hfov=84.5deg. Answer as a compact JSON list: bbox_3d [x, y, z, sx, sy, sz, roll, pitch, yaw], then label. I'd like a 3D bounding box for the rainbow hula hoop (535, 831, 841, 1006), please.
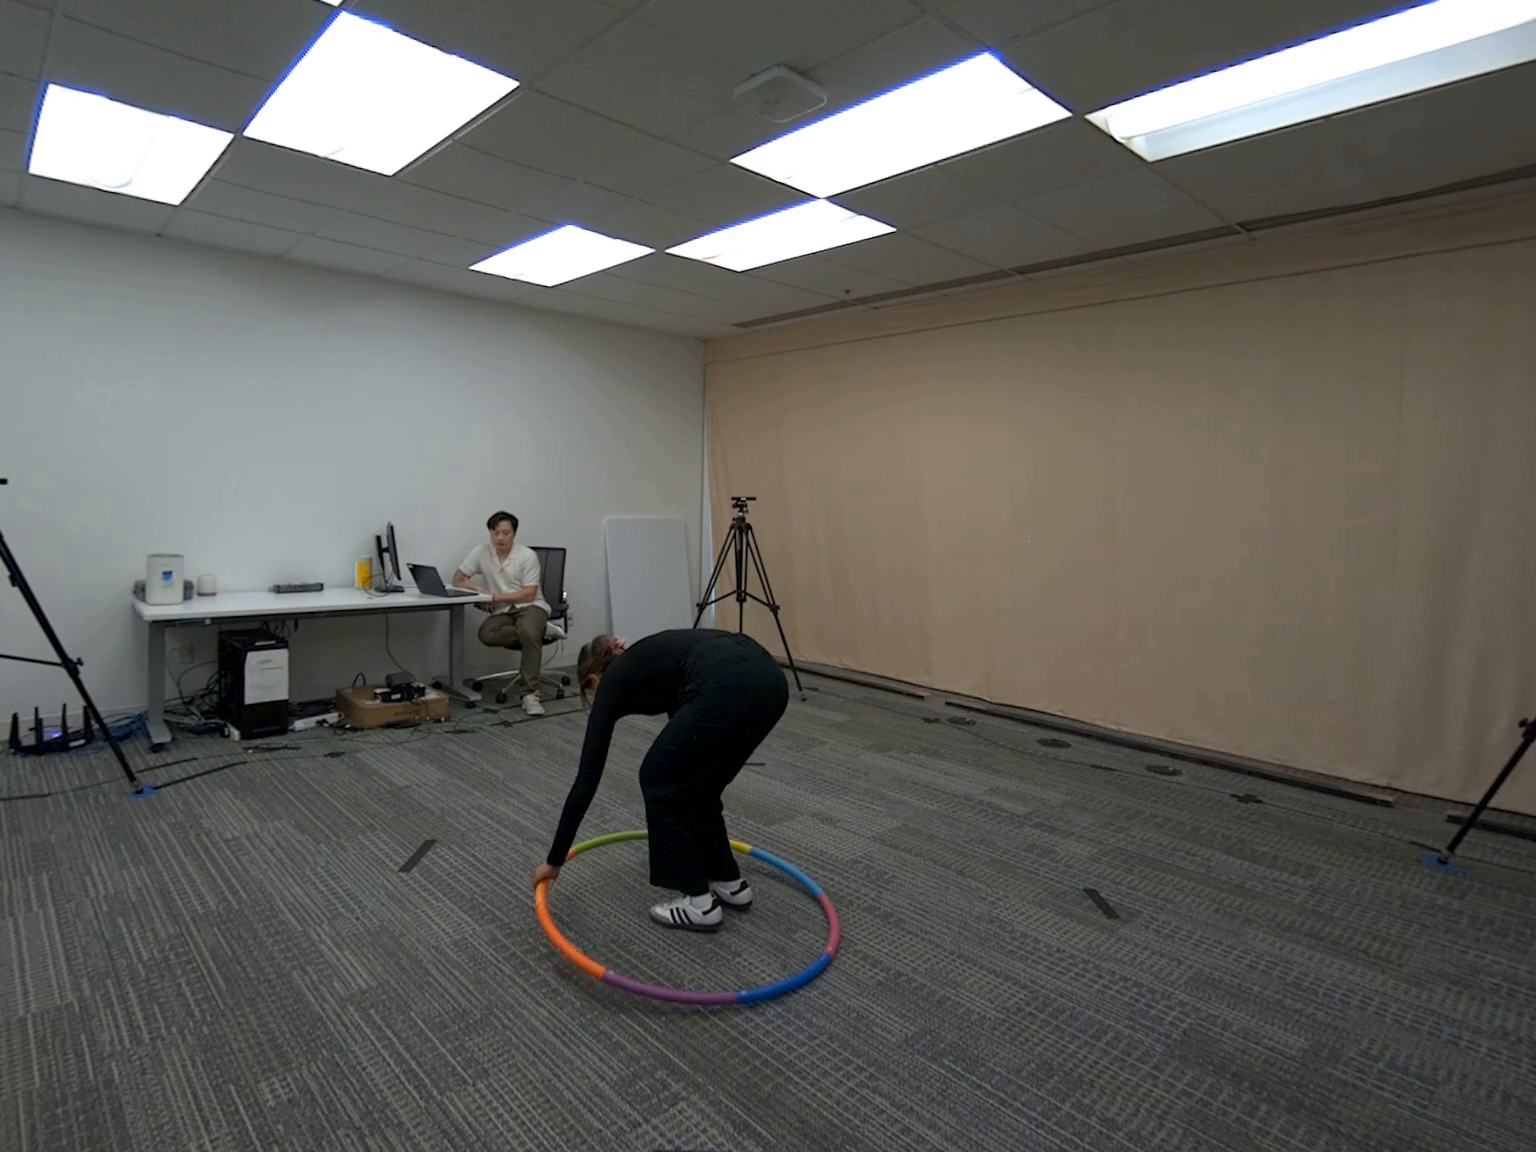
[{"bbox_3d":[-0.251,1.053,2.739,0.977,0.035,0.984,8,8,-2],"label":"rainbow hula hoop"}]
